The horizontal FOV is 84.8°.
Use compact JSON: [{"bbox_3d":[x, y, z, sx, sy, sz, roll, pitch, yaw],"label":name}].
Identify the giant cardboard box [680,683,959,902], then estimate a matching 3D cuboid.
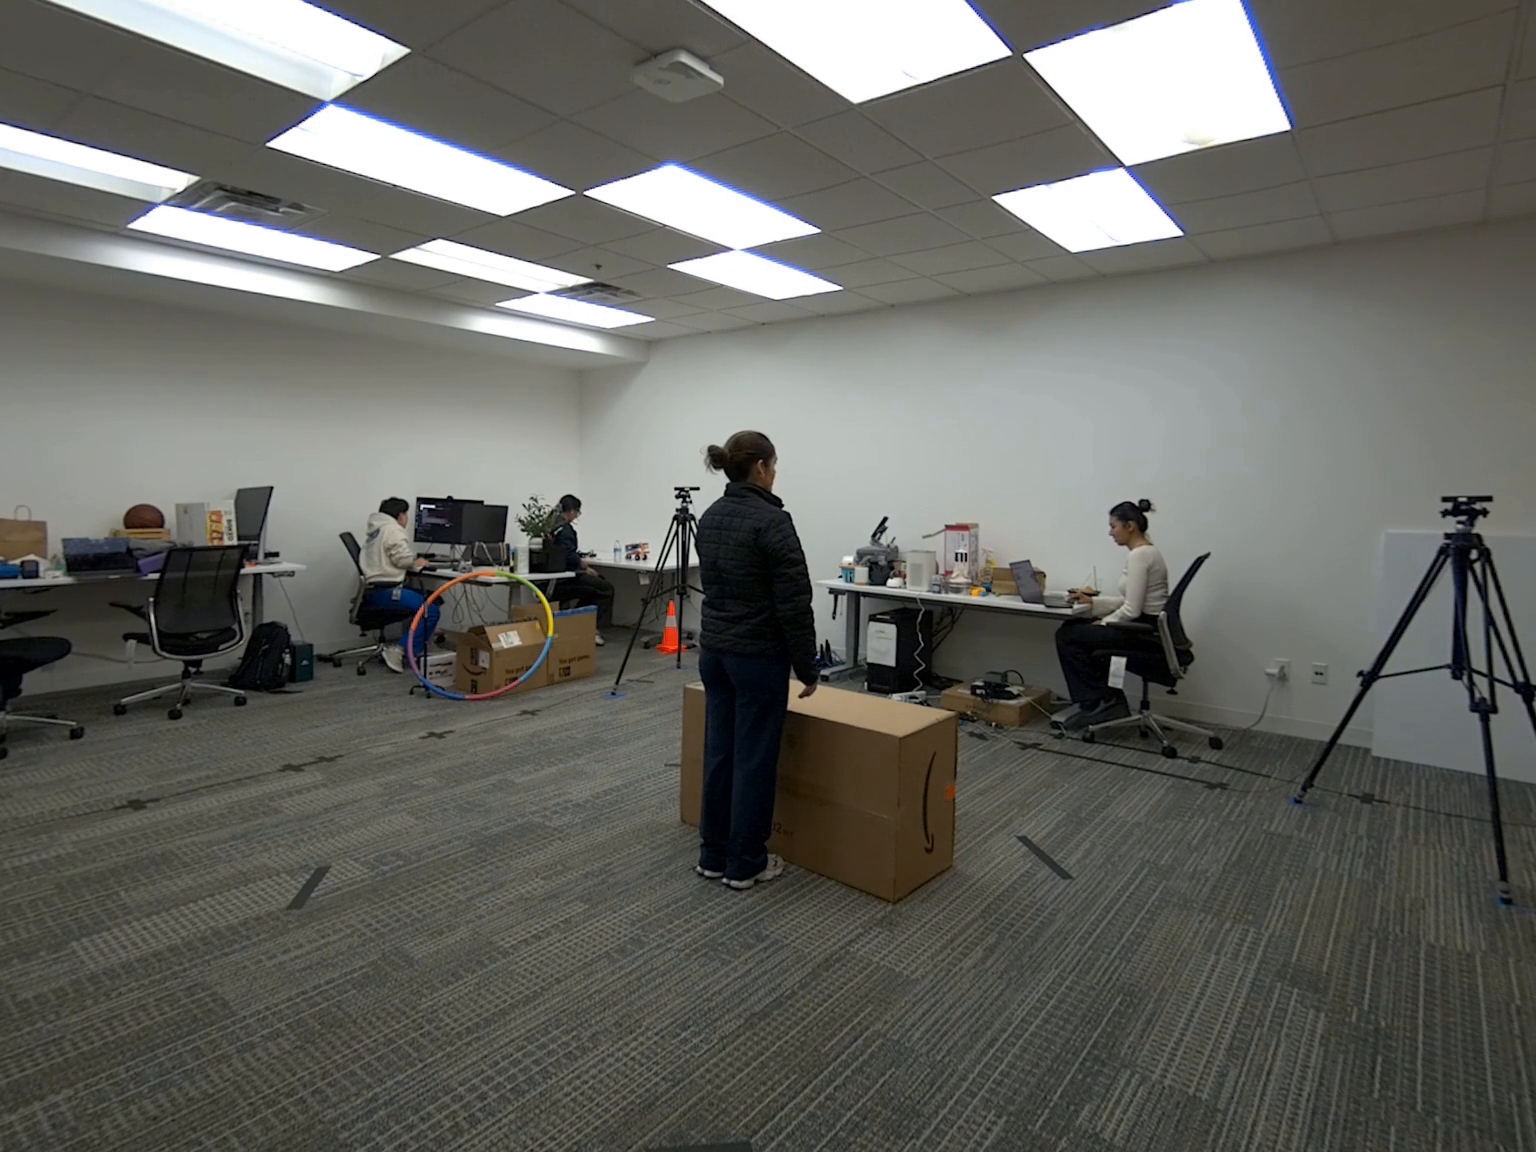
[{"bbox_3d":[0.188,0.762,3.357,1.062,0.581,0.434,6,7,42],"label":"giant cardboard box"}]
